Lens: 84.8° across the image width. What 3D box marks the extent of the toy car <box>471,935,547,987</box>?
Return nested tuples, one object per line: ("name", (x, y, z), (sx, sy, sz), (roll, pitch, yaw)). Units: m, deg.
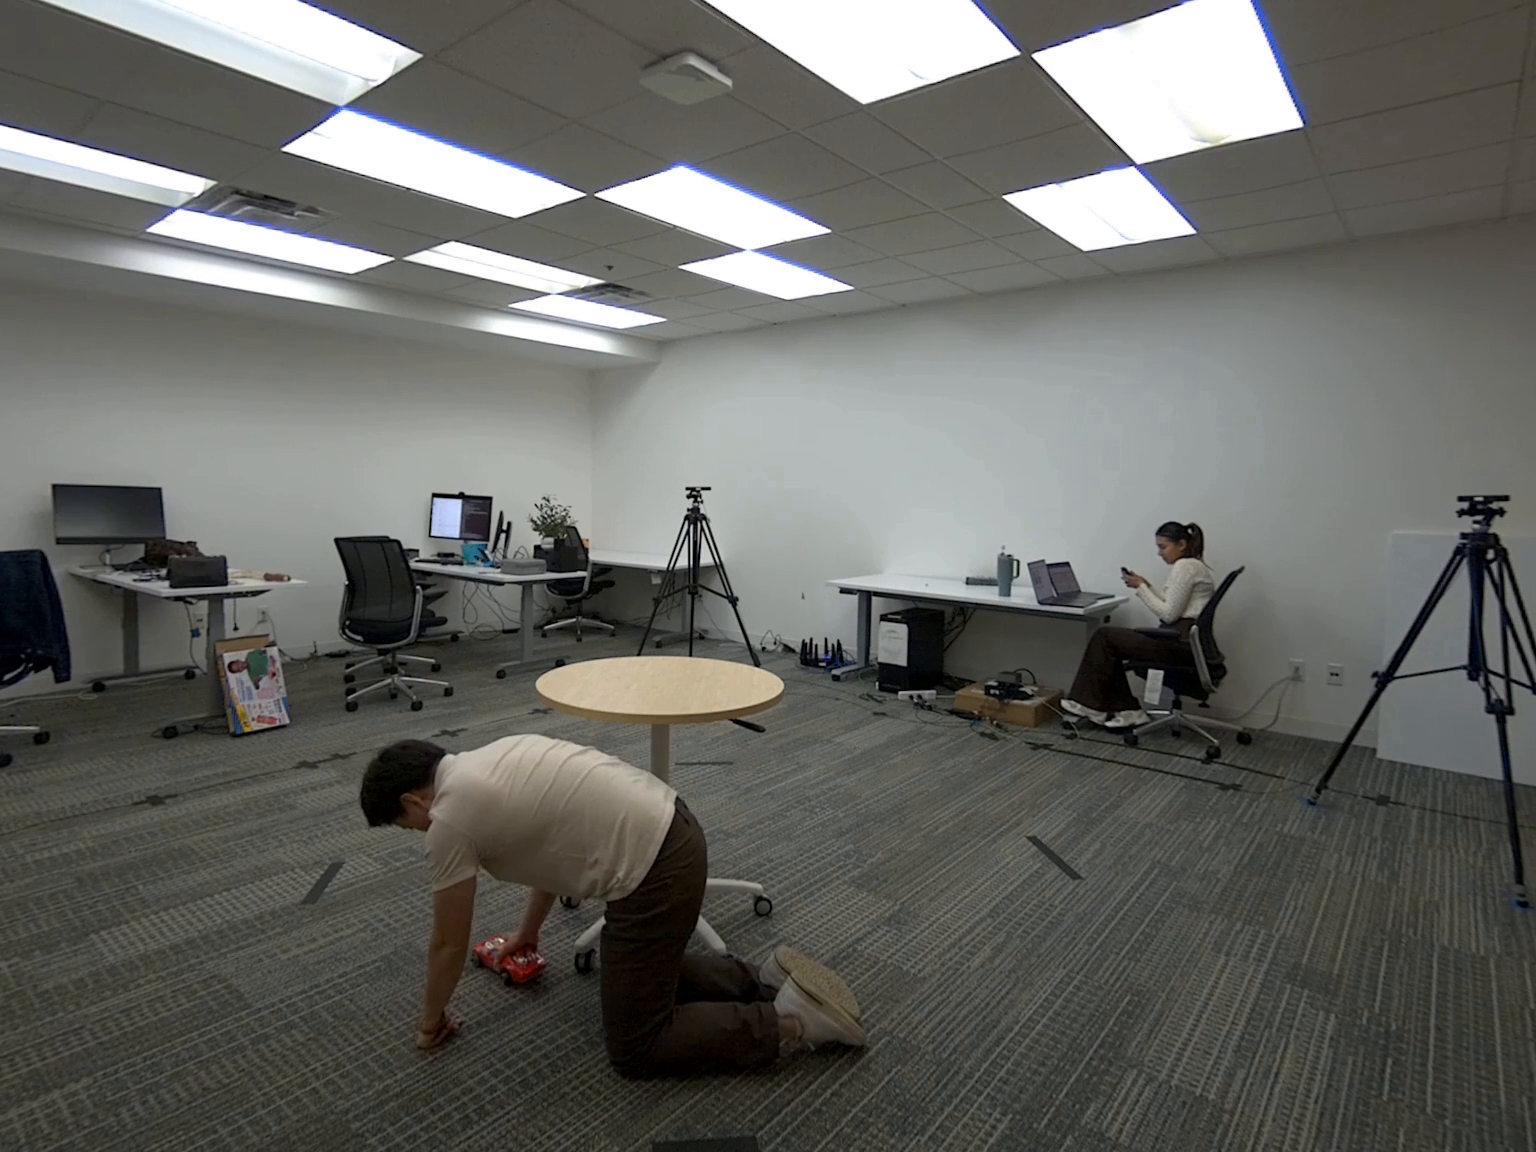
("toy car", (-0.753, 1.100, 2.434), (0.261, 0.083, 0.126), (-9, -2, 40))
